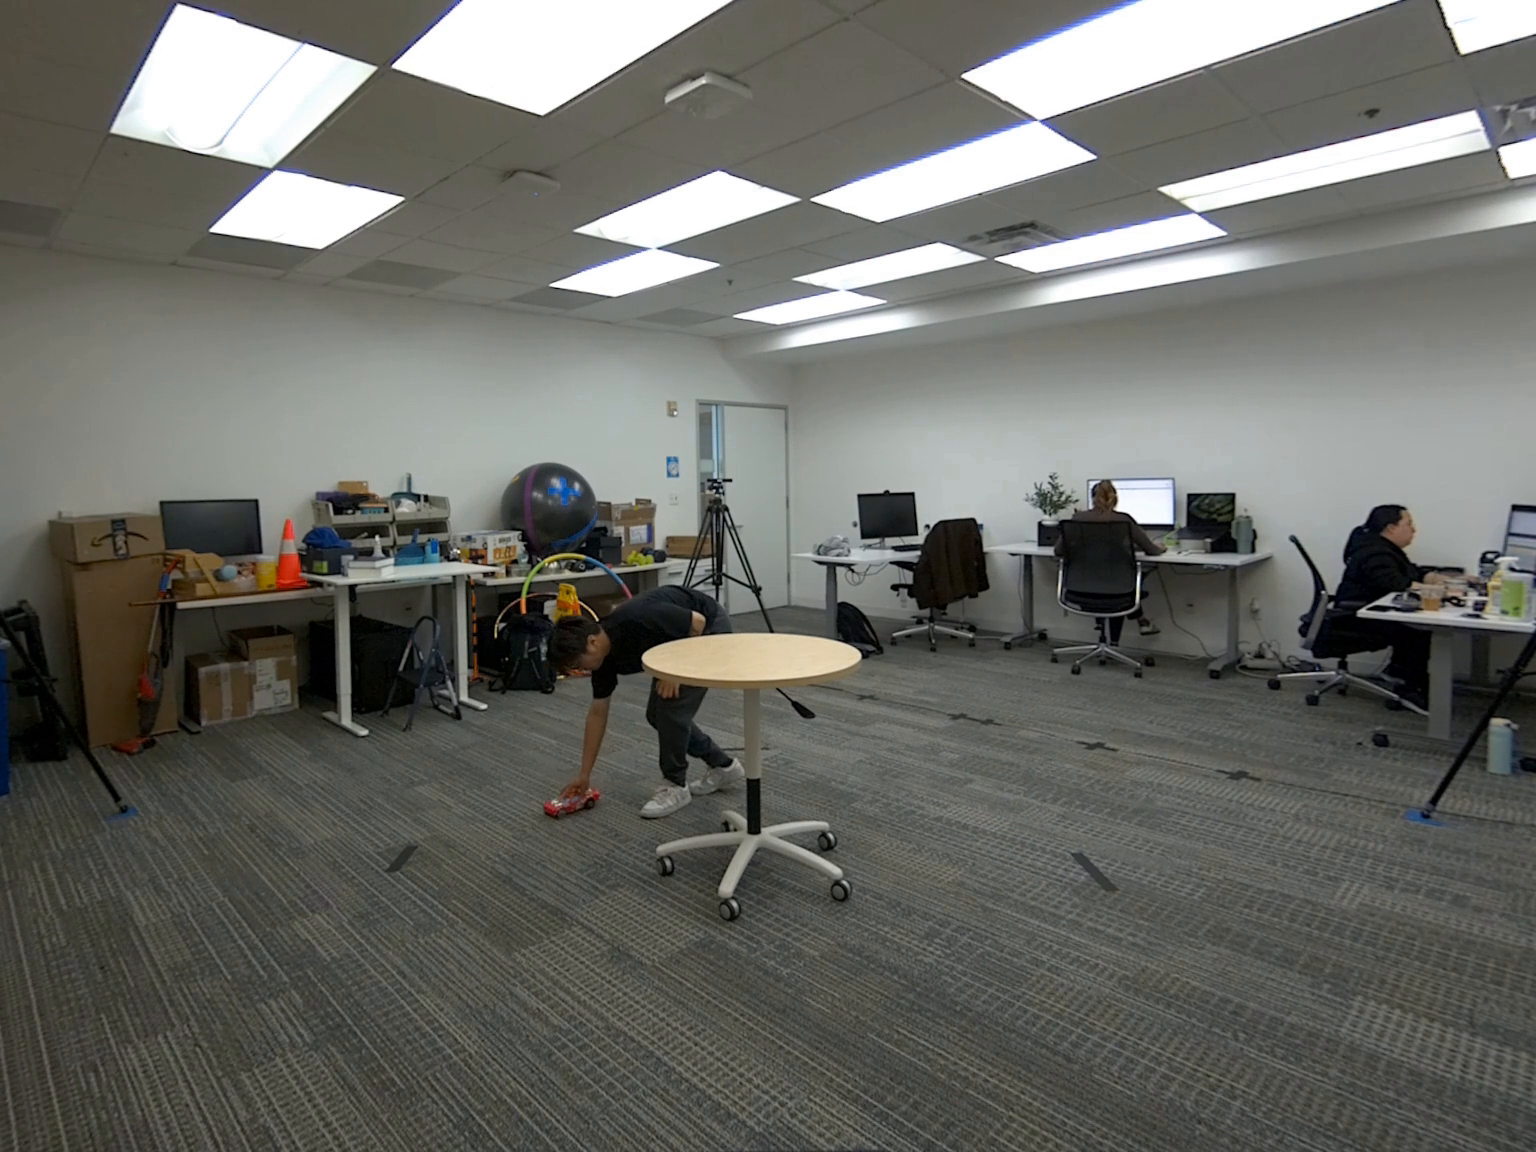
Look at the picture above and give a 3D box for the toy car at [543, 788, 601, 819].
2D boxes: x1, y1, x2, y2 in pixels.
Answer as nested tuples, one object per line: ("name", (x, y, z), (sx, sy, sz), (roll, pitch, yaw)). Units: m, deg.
("toy car", (-0.833, 0.969, 3.664), (0.134, 0.082, 0.250), (4, 19, 44))
